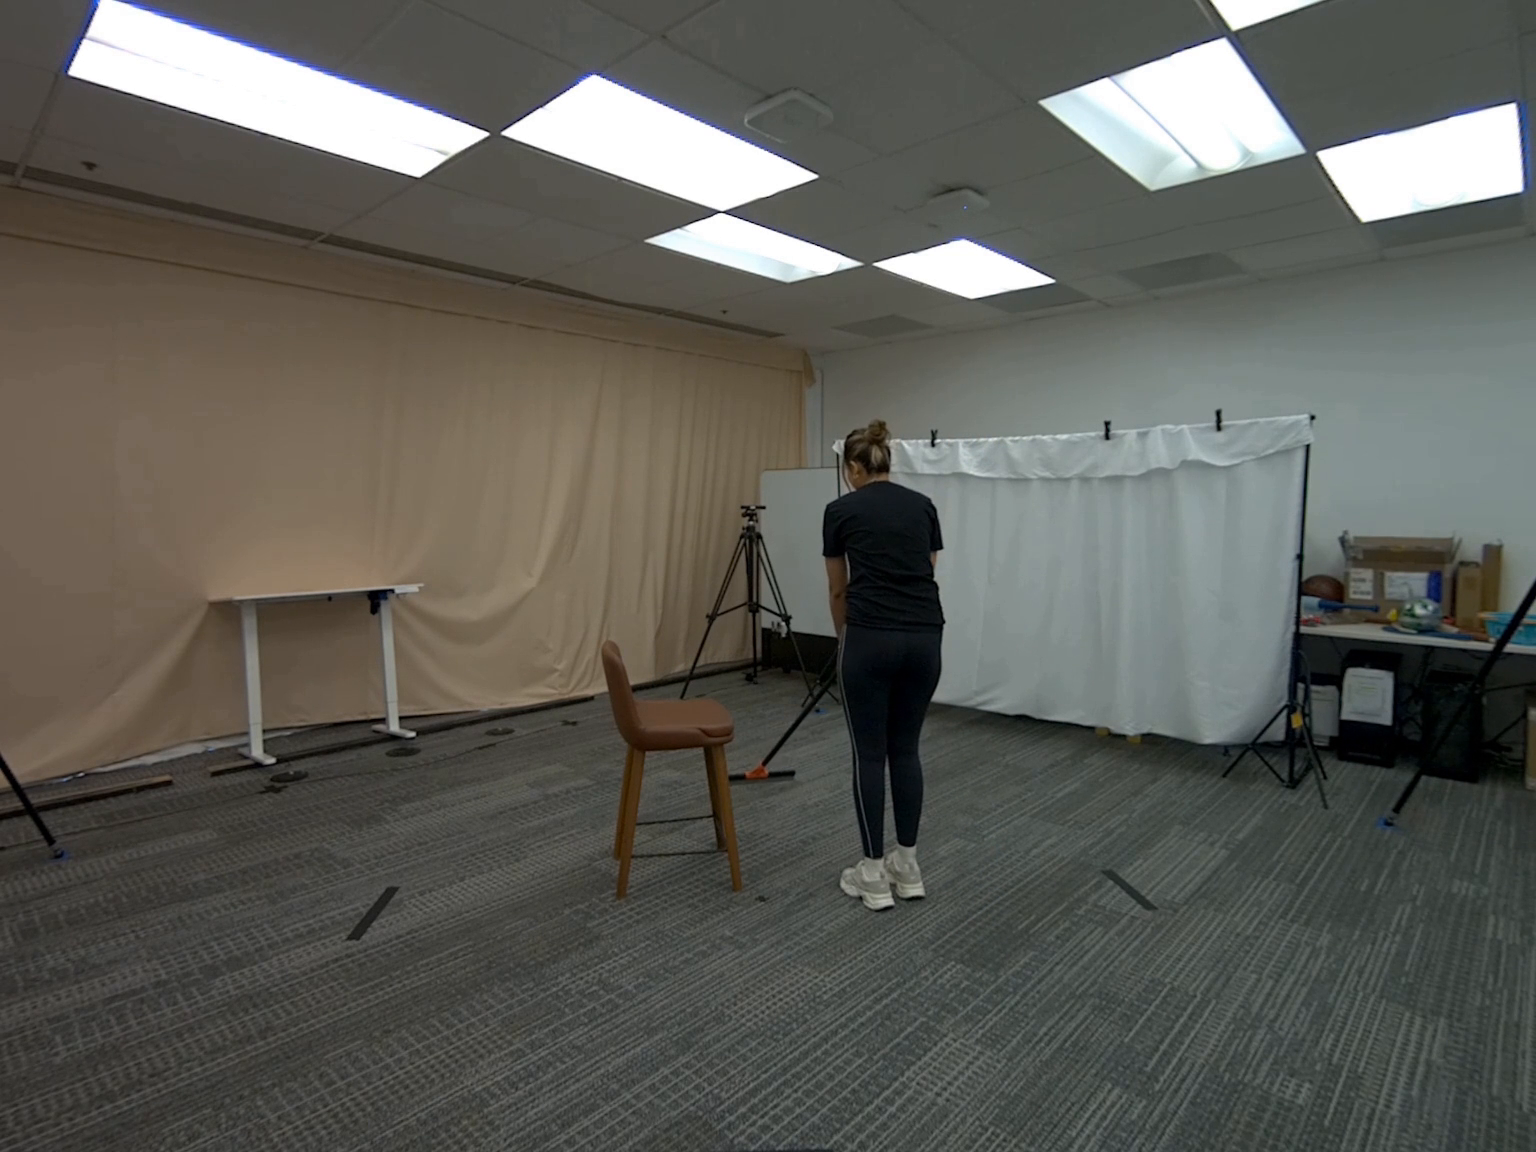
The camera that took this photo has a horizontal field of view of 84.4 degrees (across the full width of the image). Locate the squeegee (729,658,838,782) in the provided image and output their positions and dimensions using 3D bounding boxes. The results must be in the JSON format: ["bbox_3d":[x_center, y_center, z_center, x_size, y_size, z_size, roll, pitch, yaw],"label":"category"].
[{"bbox_3d":[0.225,0.486,3.573,0.426,0.054,1.537,3,-41,-28],"label":"squeegee"}]
